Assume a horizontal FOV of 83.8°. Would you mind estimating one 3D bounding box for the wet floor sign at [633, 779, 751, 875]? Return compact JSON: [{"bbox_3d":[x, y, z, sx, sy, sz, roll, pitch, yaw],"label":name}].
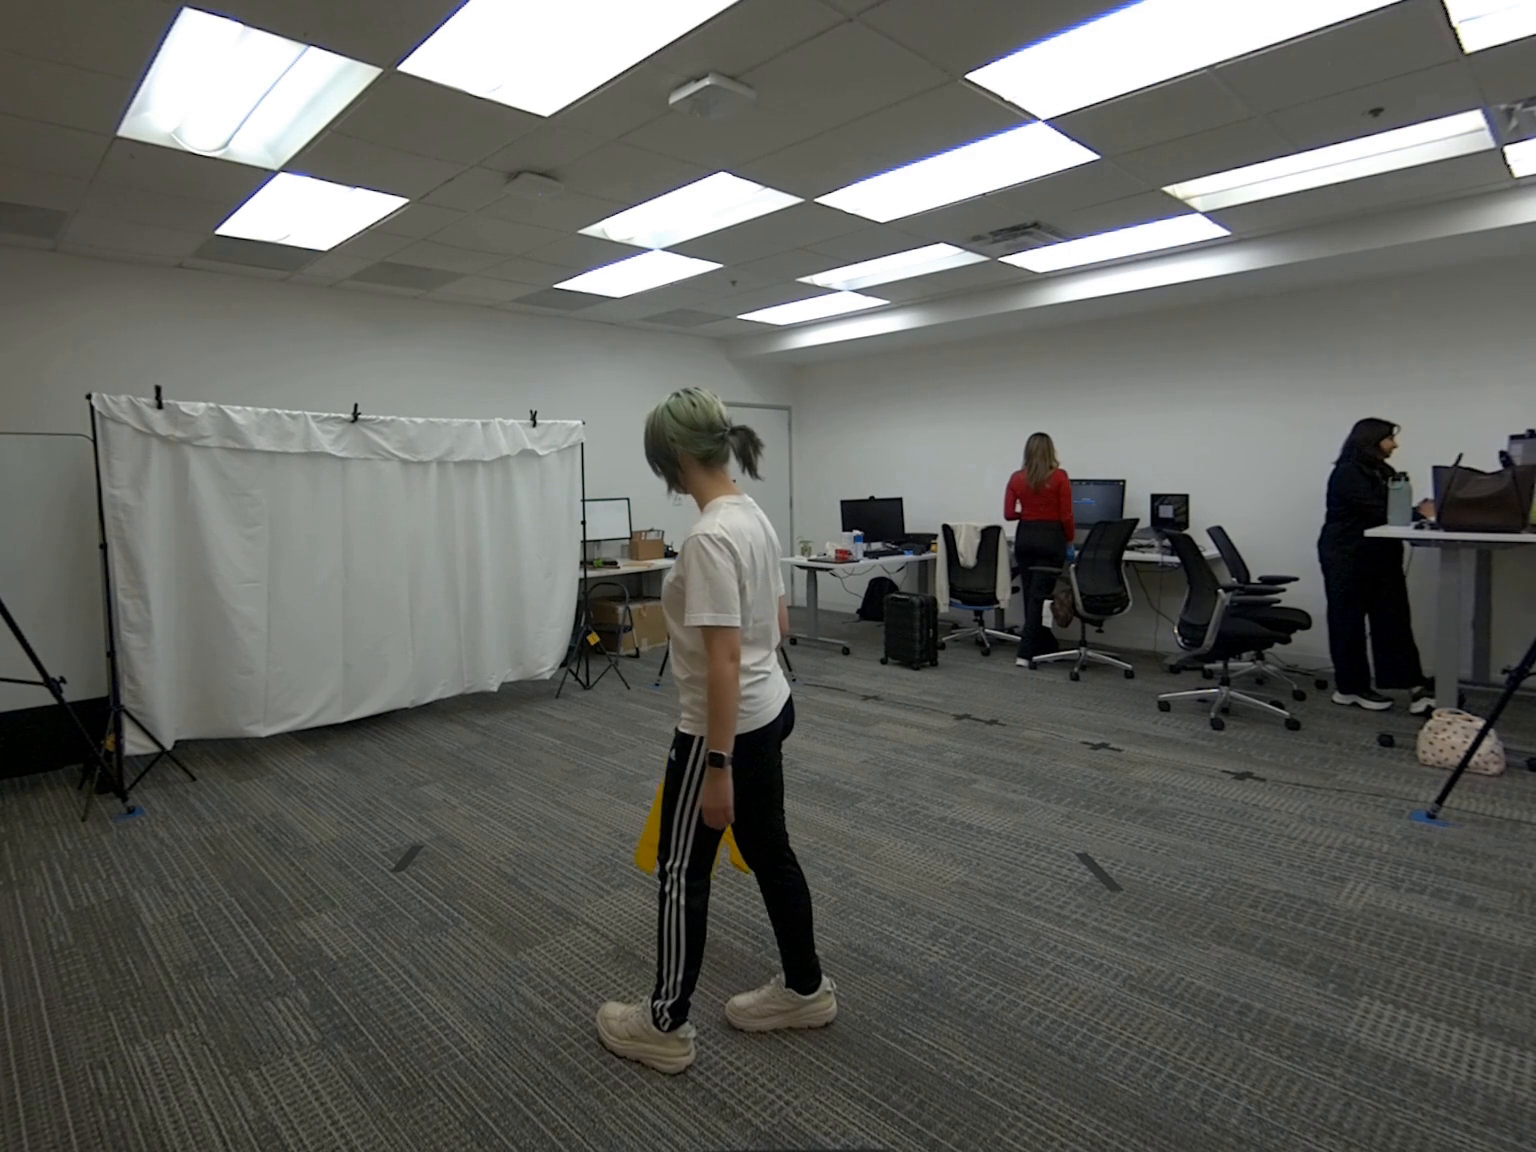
[{"bbox_3d":[-0.165,0.608,2.521,0.292,0.638,0.284,23,21,31],"label":"wet floor sign"}]
